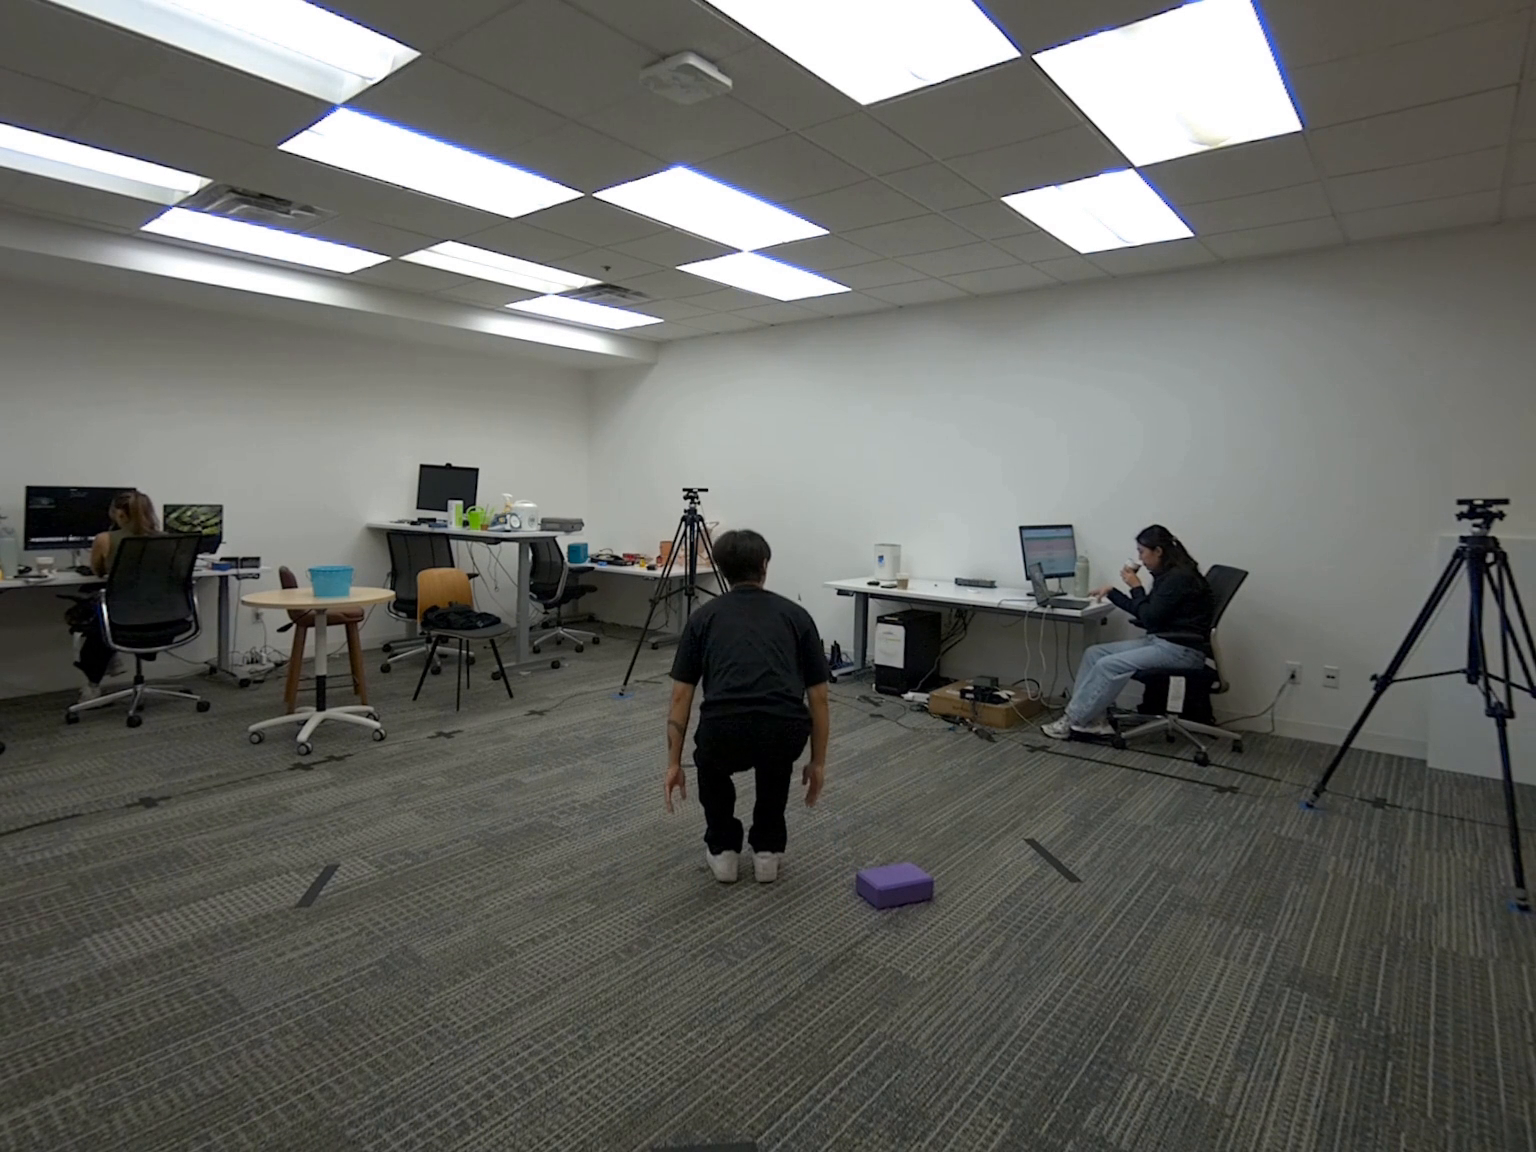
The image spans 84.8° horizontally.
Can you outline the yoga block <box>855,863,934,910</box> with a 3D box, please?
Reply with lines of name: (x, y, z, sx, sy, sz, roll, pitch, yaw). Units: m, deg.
yoga block: (0.431, 1.061, 2.938, 0.224, 0.076, 0.153, -2, 6, -22)
